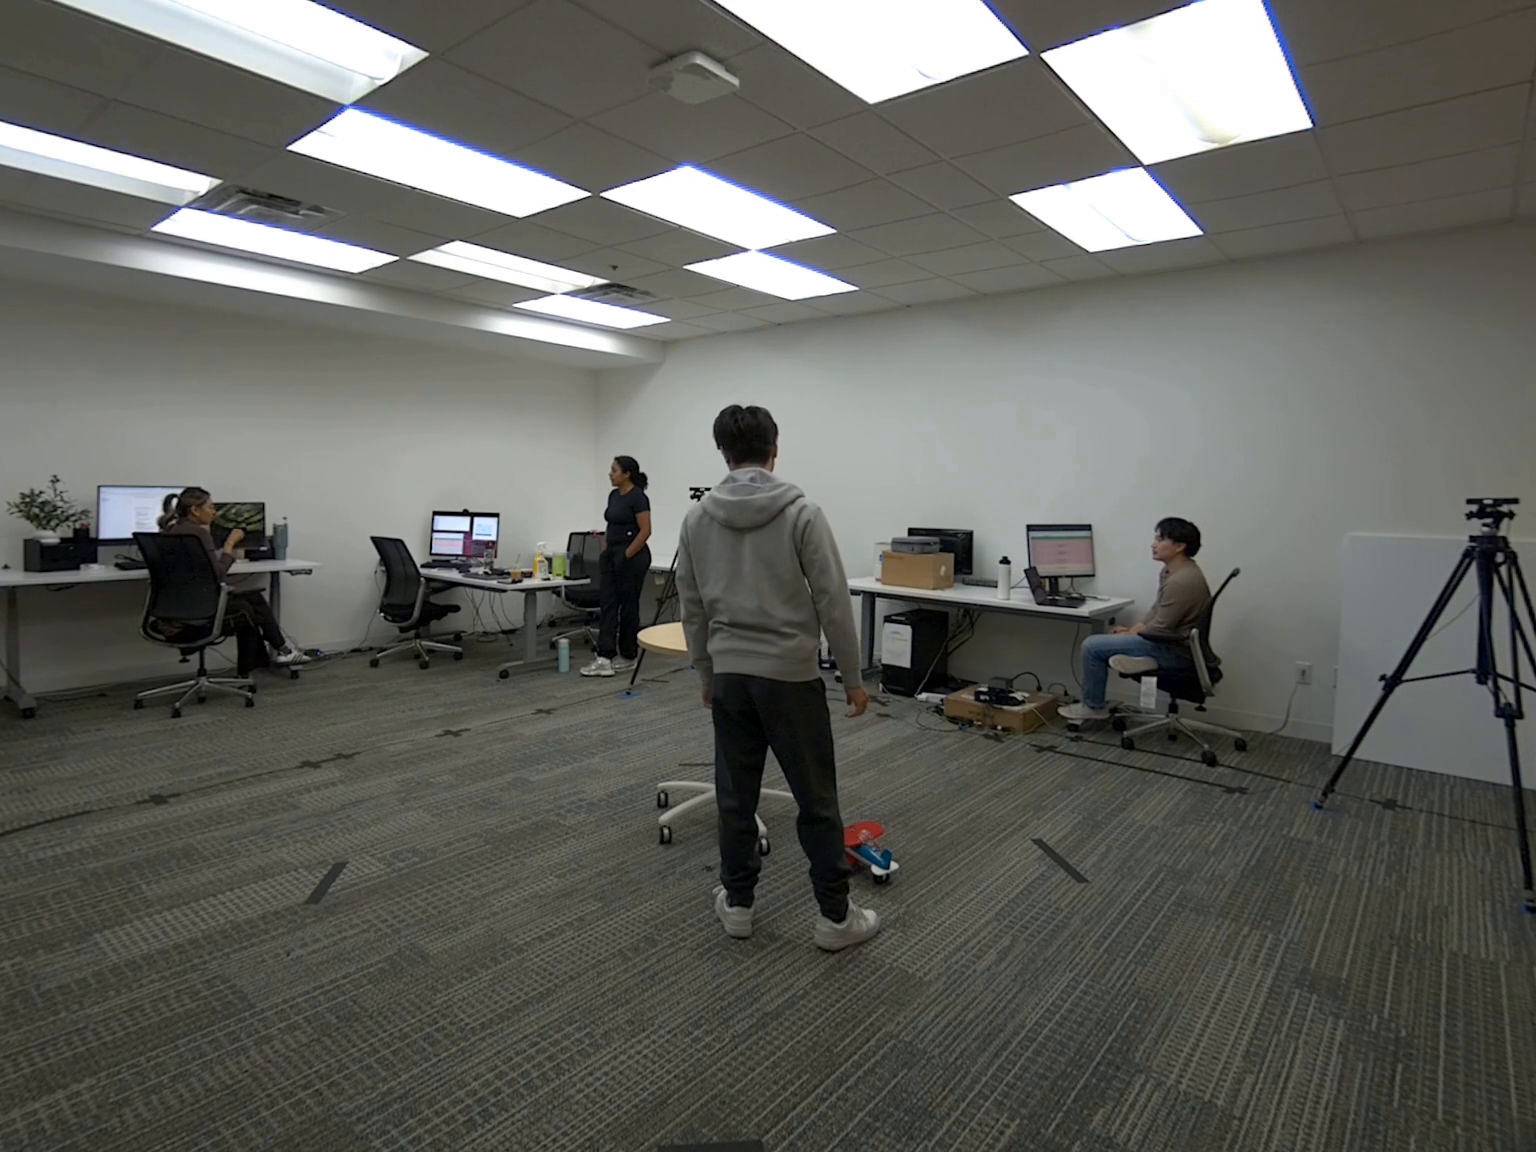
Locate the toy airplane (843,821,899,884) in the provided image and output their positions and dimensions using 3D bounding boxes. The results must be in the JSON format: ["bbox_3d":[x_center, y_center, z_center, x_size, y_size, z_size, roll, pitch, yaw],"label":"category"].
[{"bbox_3d":[0.349,1.005,3.113,0.265,0.156,0.246,2,4,23],"label":"toy airplane"}]
